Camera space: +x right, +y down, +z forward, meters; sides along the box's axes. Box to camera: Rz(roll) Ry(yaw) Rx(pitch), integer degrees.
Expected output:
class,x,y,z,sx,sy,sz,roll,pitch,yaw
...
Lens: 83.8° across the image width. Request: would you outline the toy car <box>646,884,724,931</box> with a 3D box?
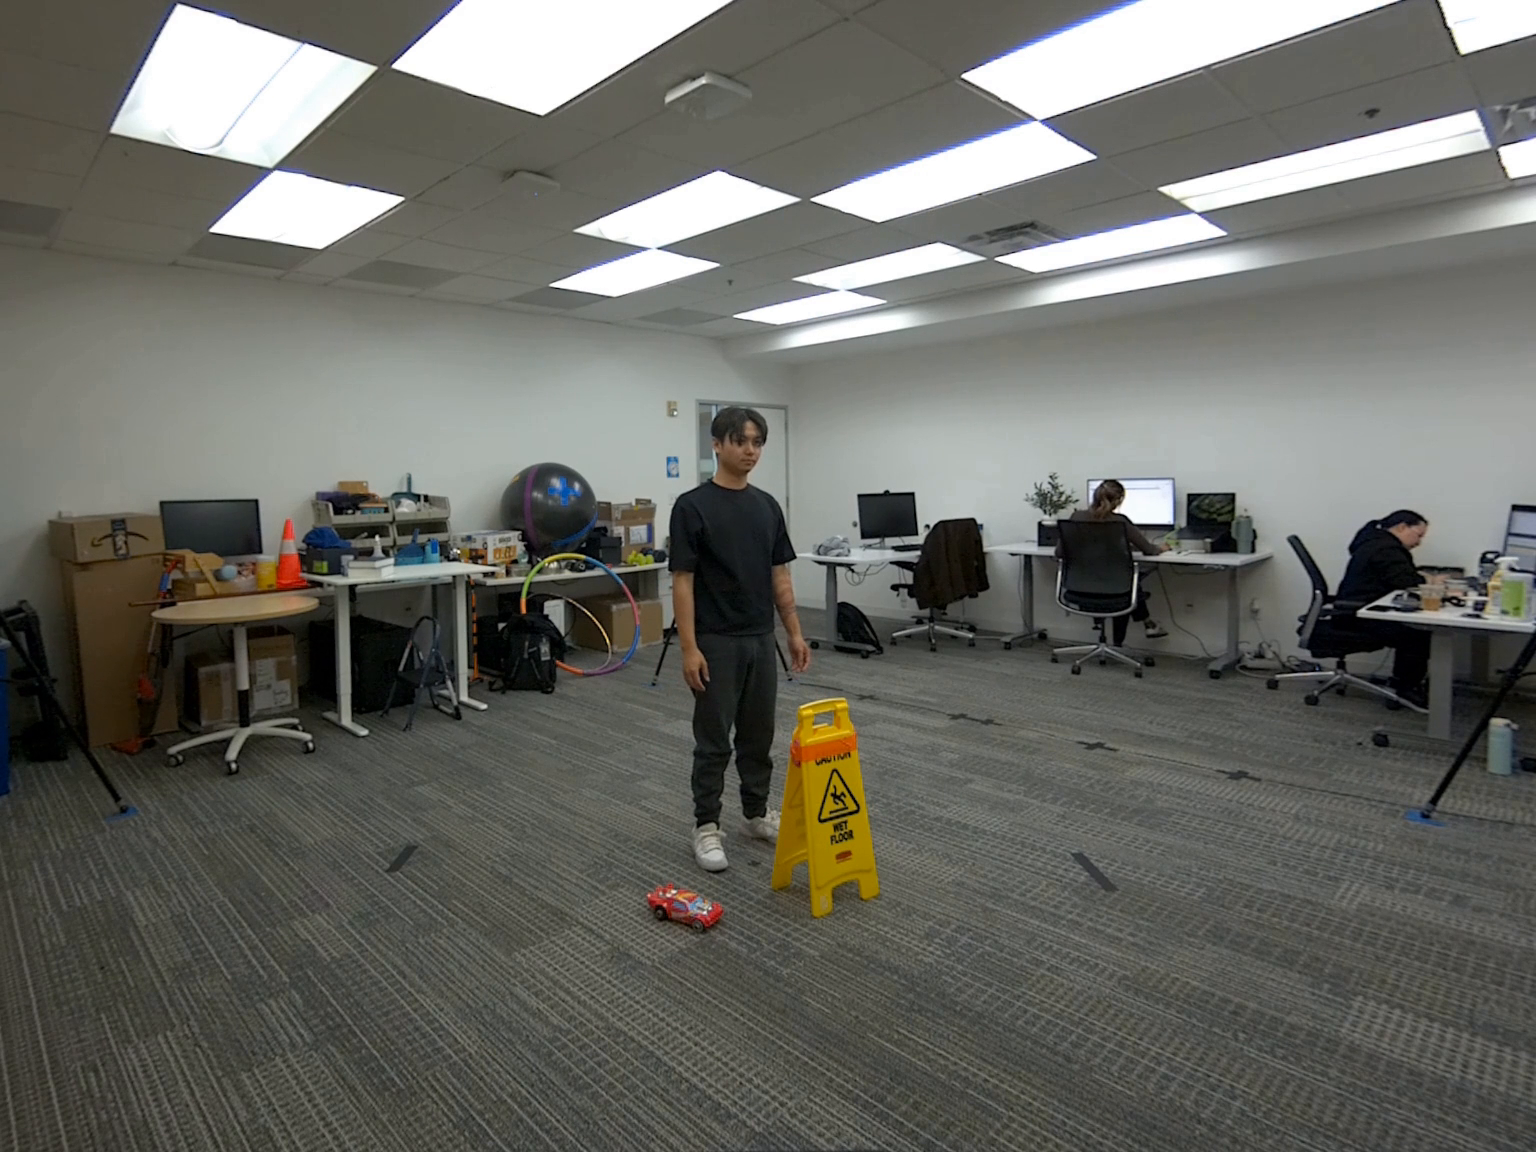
class,x,y,z,sx,sy,sz,roll,pitch,yaw
toy car,-0.270,1.065,2.729,0.262,0.082,0.127,15,13,30
